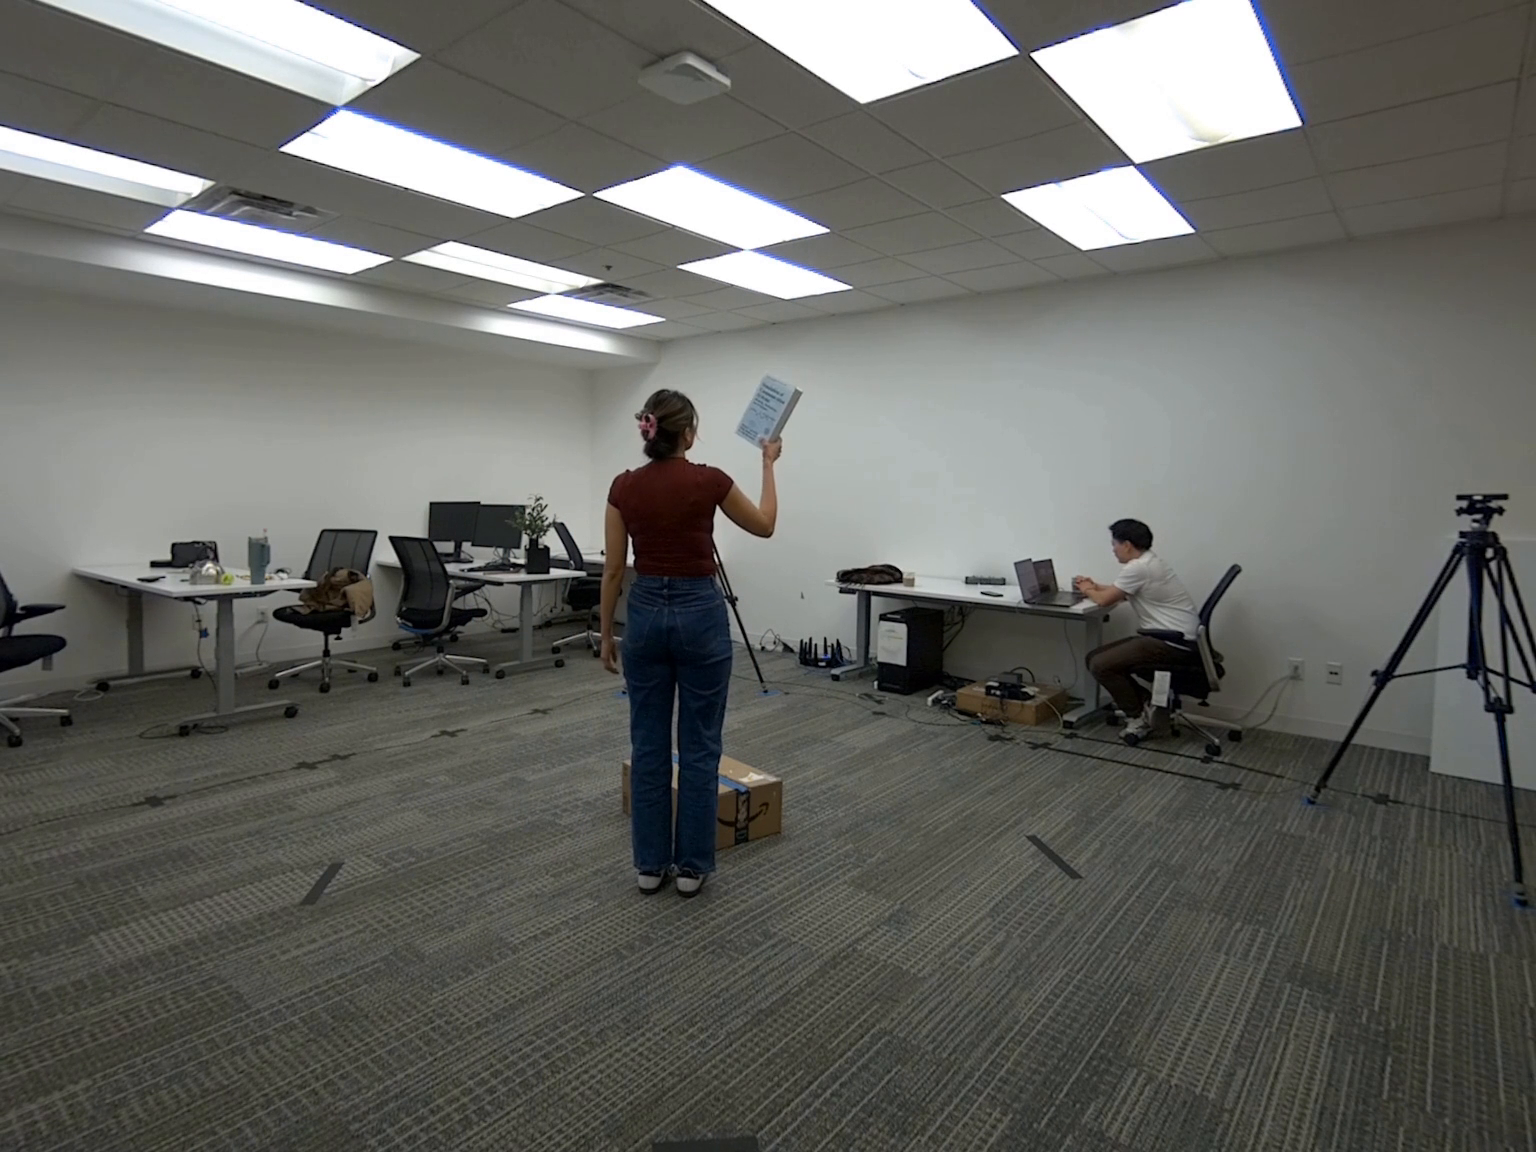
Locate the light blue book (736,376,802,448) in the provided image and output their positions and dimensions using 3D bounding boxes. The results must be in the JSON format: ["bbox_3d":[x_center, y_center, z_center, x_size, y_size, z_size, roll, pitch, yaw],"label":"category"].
[{"bbox_3d":[-0.011,-0.618,3.205,0.057,0.260,0.200,18,15,-47],"label":"light blue book"}]
